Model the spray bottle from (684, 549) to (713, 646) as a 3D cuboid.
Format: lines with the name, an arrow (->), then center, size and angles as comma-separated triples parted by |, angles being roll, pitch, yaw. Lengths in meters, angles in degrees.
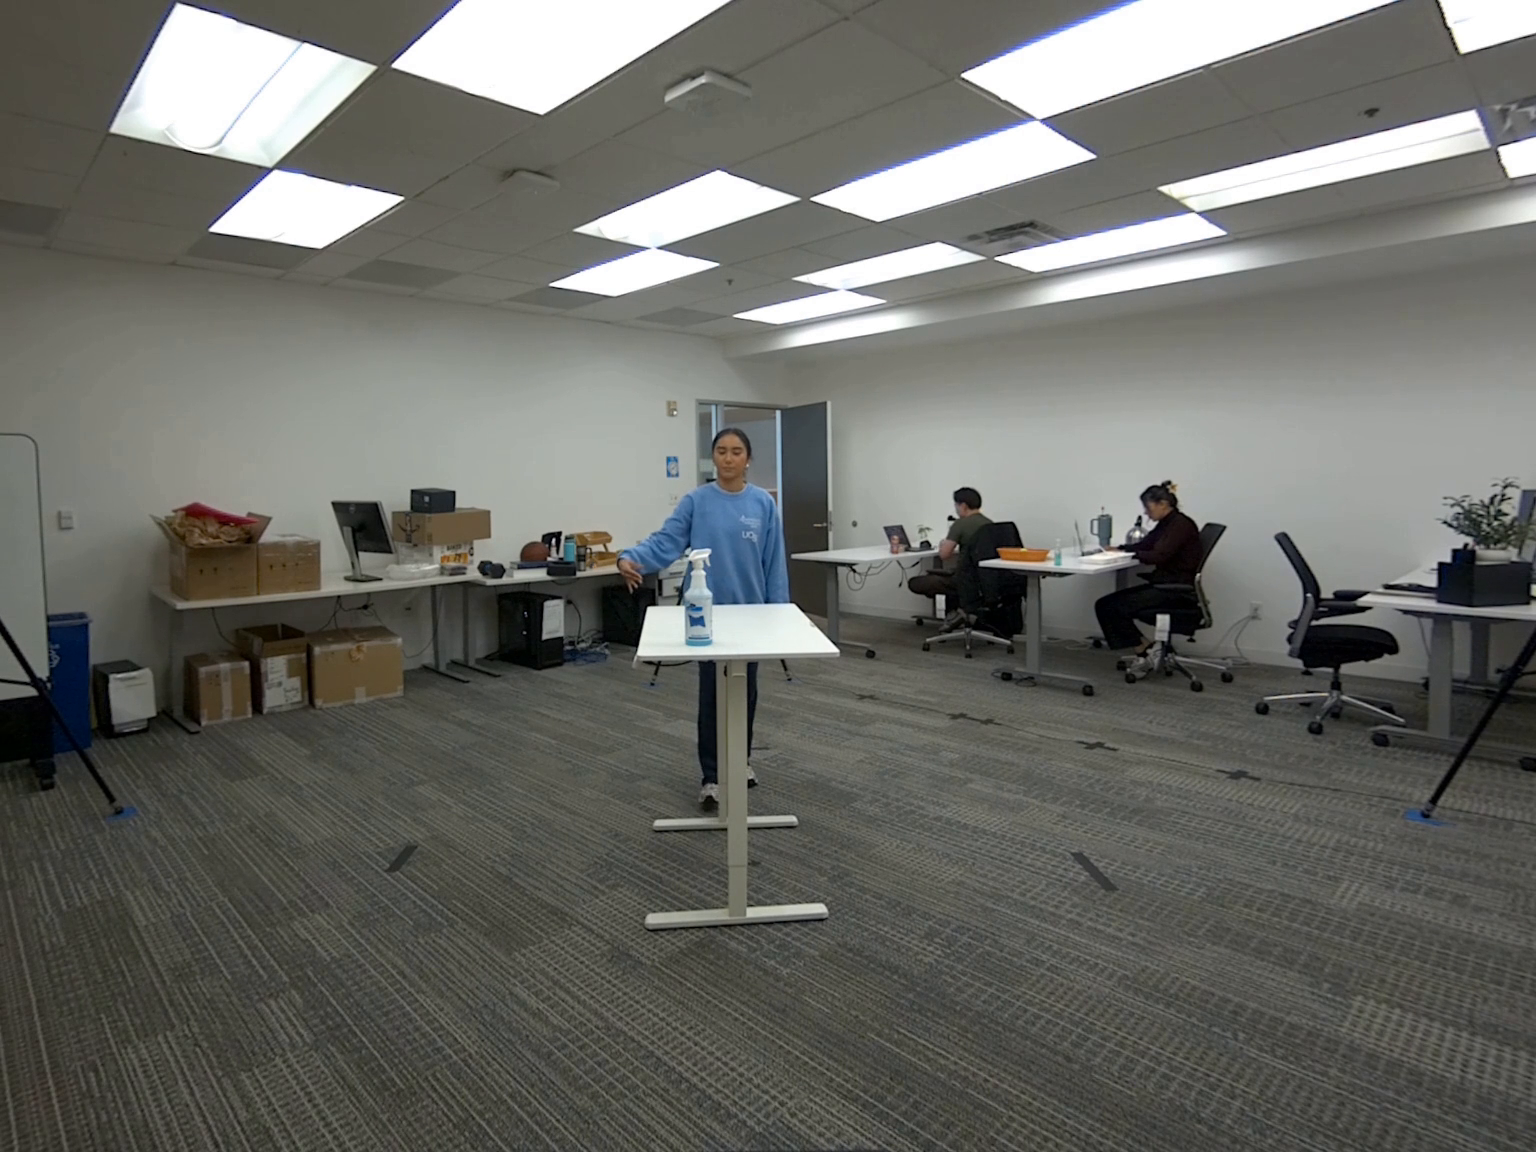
spray bottle -> -0.217, 0.070, 2.673 | 0.088, 0.297, 0.089 | 0, 3, -20
